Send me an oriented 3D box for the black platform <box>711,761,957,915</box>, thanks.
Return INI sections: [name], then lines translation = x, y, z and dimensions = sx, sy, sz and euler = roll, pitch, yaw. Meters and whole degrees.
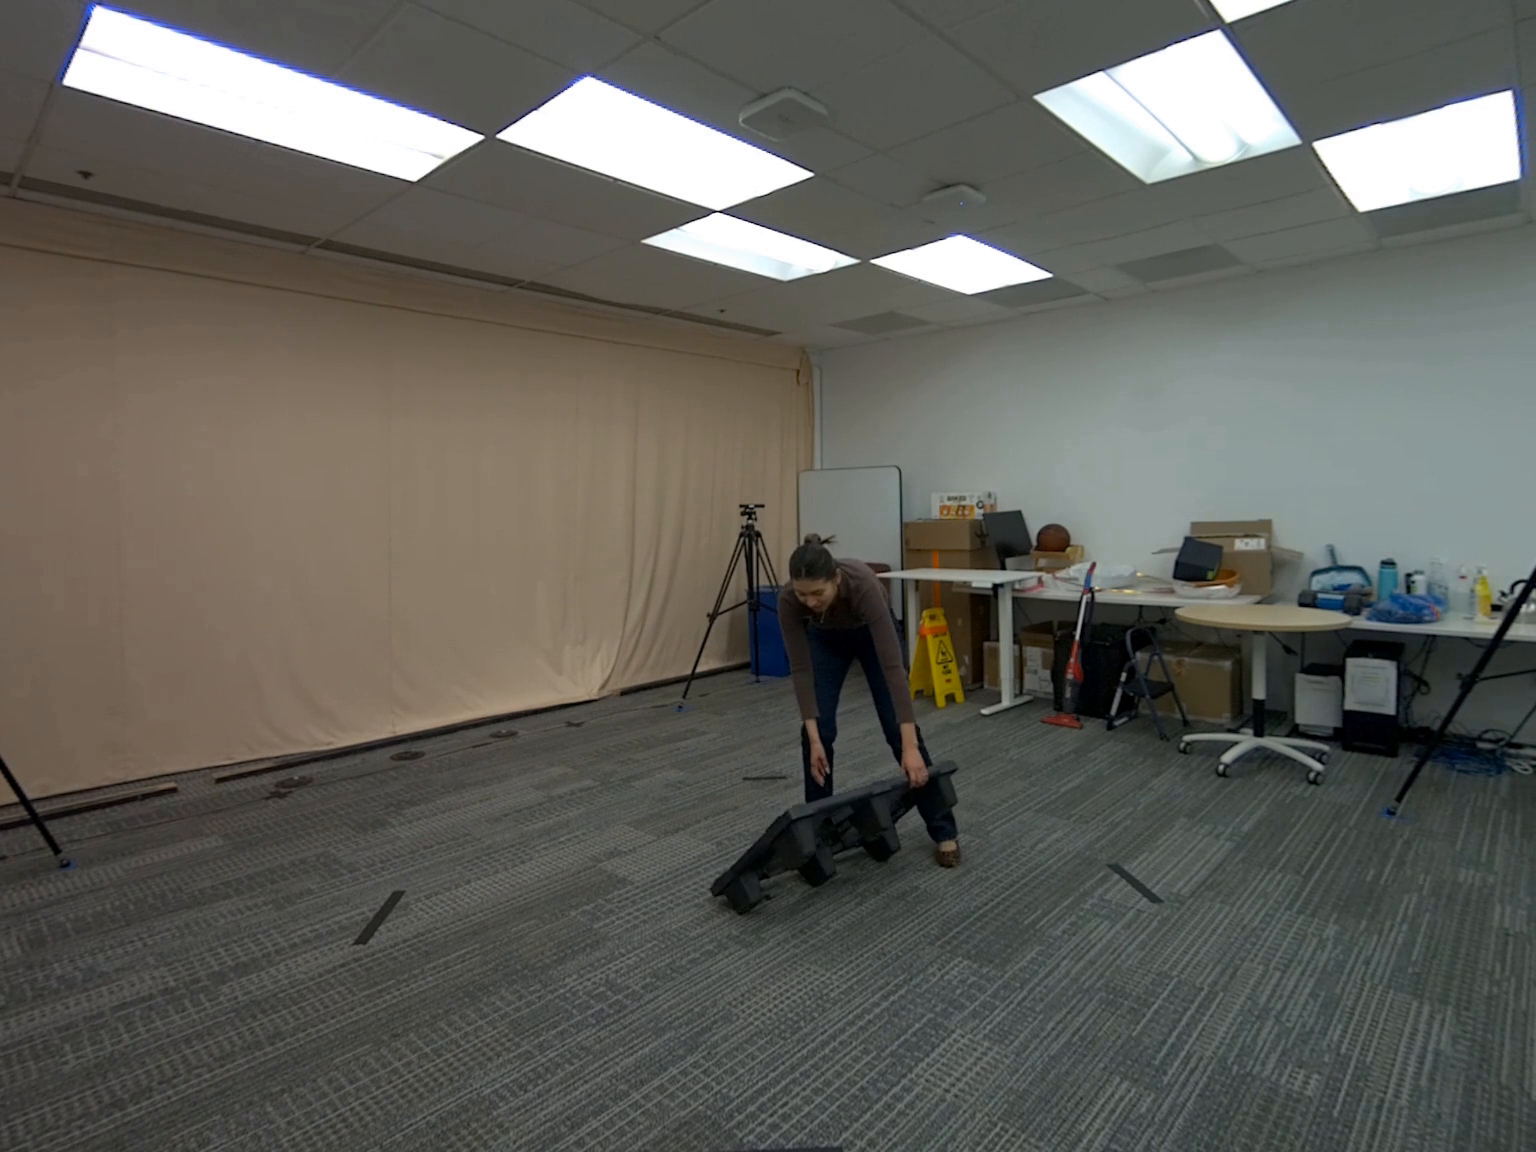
[black platform]
translation = 0.259, 0.929, 2.952
dimensions = 0.782, 0.147, 0.606
euler = -4, -38, -37
